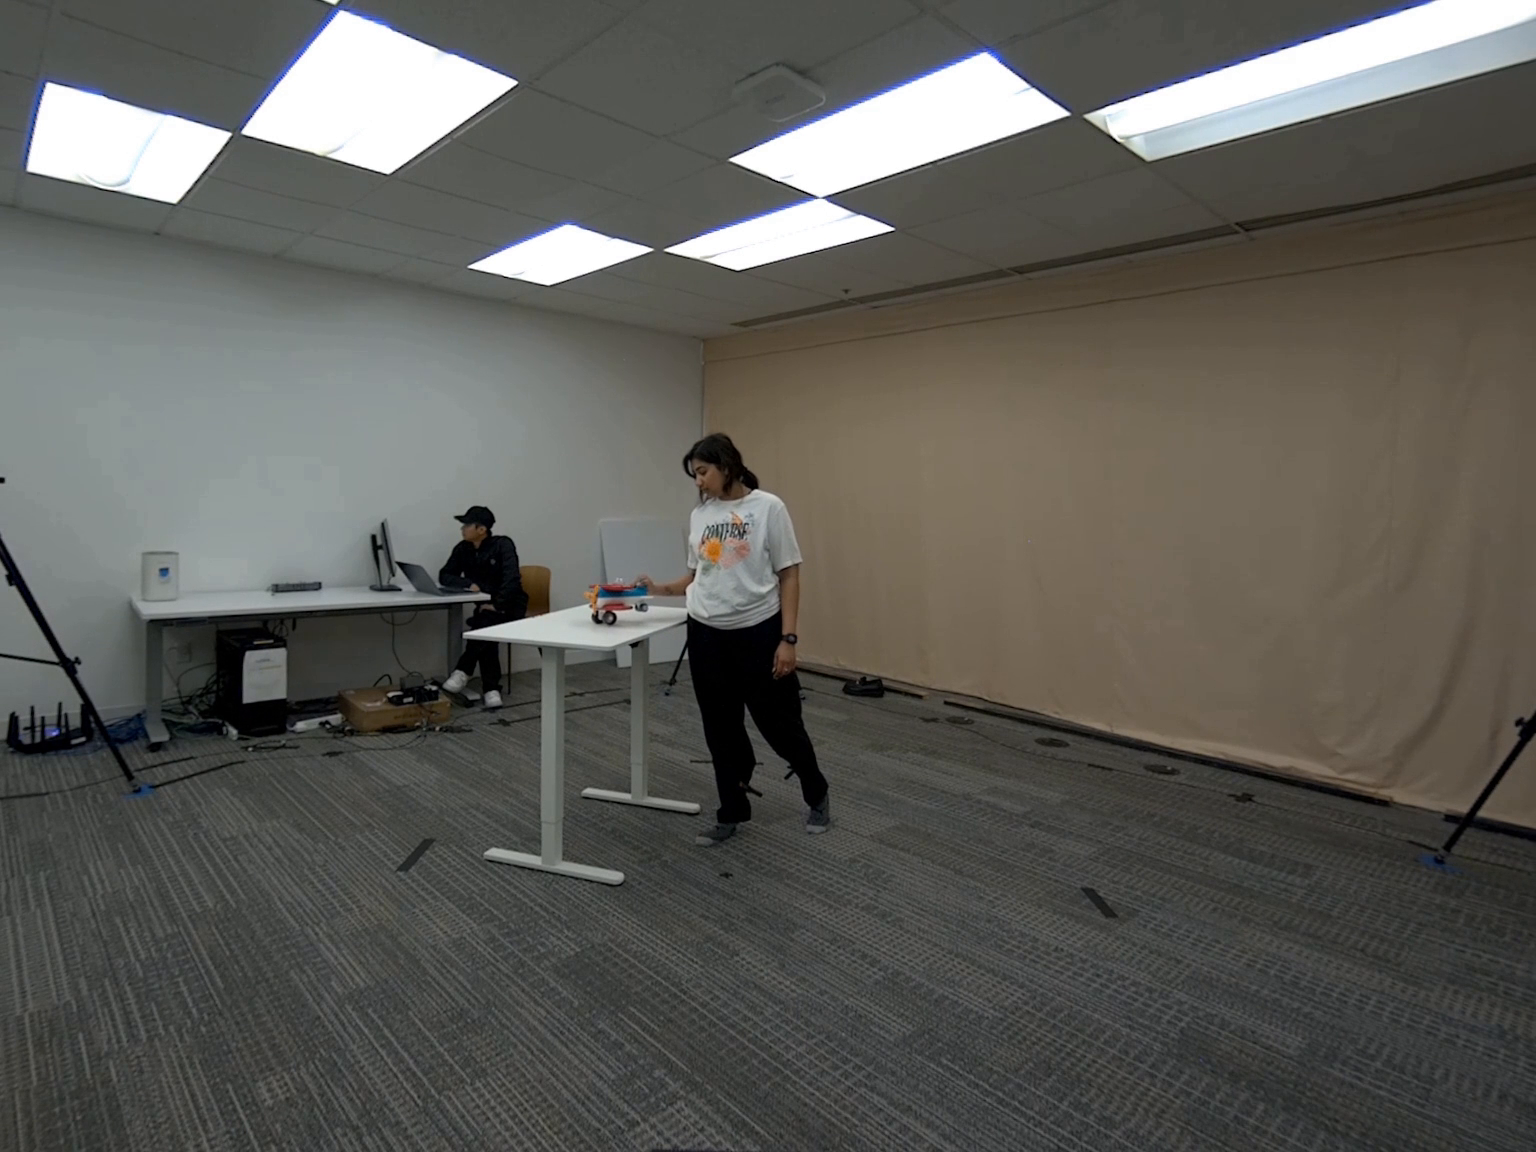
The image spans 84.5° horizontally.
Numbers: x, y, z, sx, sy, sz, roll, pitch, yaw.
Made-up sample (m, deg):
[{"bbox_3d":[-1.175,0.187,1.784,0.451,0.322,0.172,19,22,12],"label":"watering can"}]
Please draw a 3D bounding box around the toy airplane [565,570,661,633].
[{"bbox_3d":[-0.612,0.097,3.354,0.255,0.155,0.257,-8,11,23],"label":"toy airplane"}]
